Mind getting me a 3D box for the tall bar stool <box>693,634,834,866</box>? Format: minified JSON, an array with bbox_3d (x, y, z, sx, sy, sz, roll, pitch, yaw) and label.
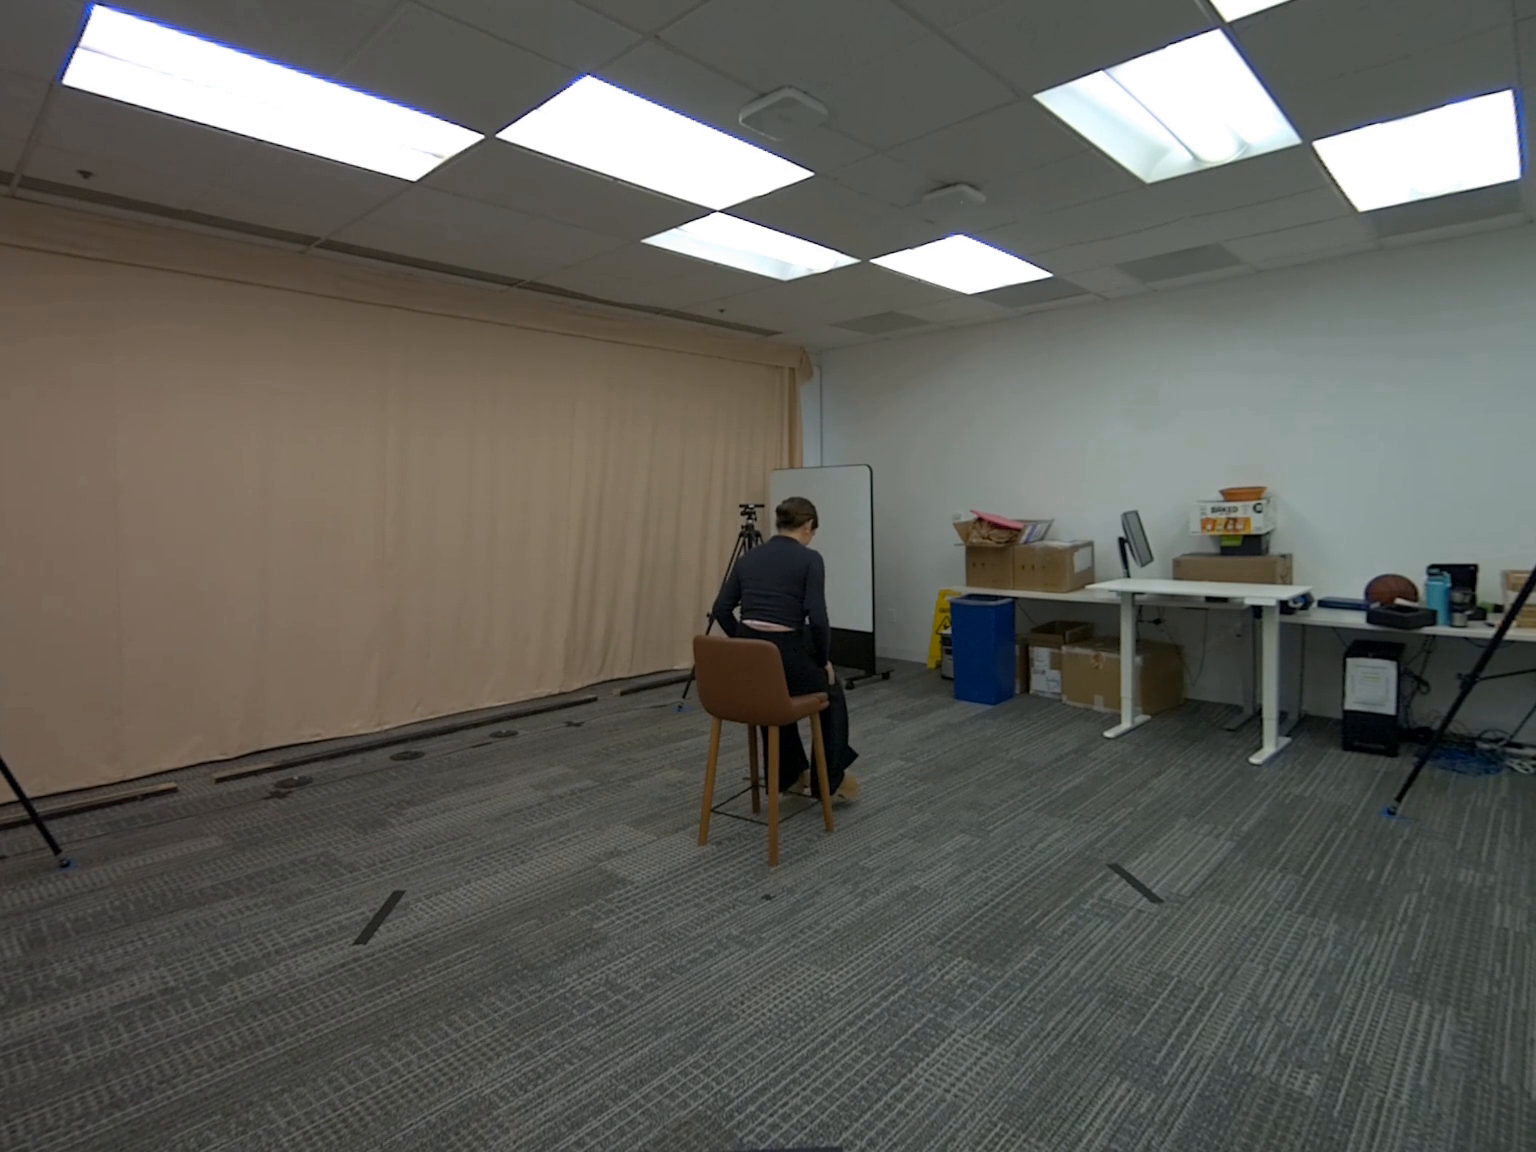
[{"bbox_3d":[-0.023,0.663,3.496,0.471,0.888,0.454,0,4,35],"label":"tall bar stool"}]
